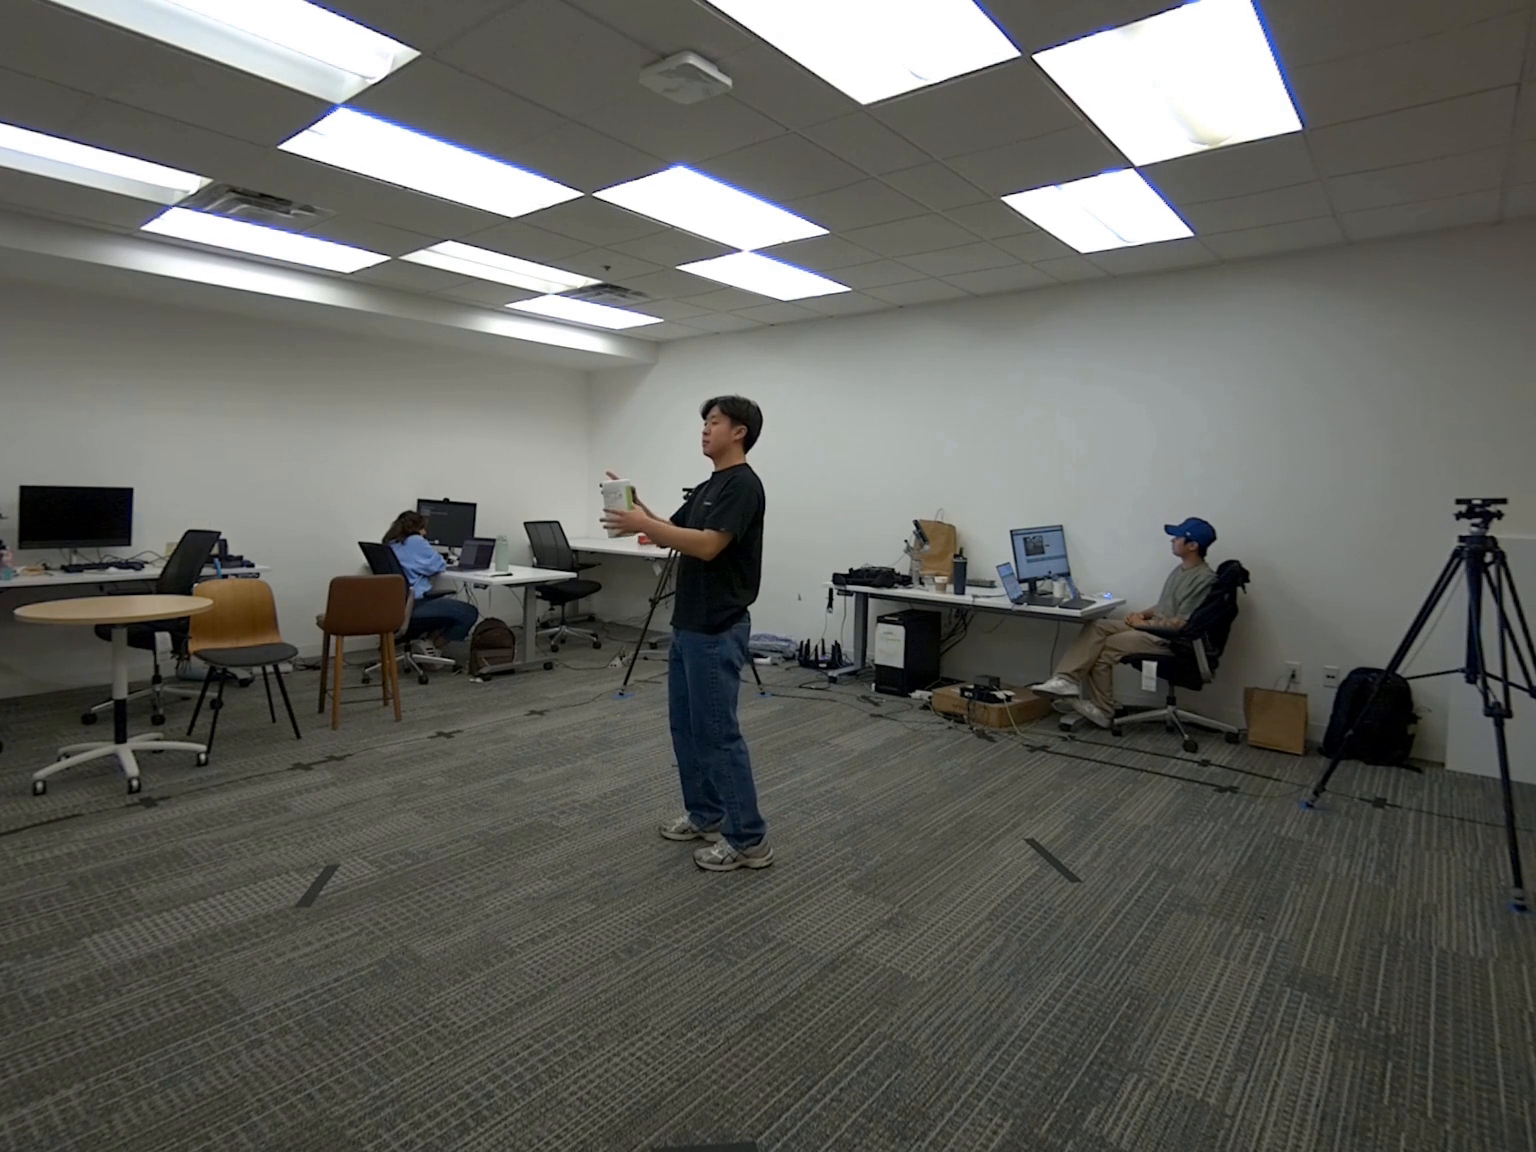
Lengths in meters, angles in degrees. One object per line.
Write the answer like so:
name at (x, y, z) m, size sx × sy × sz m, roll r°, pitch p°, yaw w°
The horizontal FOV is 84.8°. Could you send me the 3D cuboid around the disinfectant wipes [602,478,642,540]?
disinfectant wipes at (-0.556, -0.260, 3.222) m, size 0.118 × 0.216 × 0.118 m, roll -7°, pitch 4°, yaw -1°
